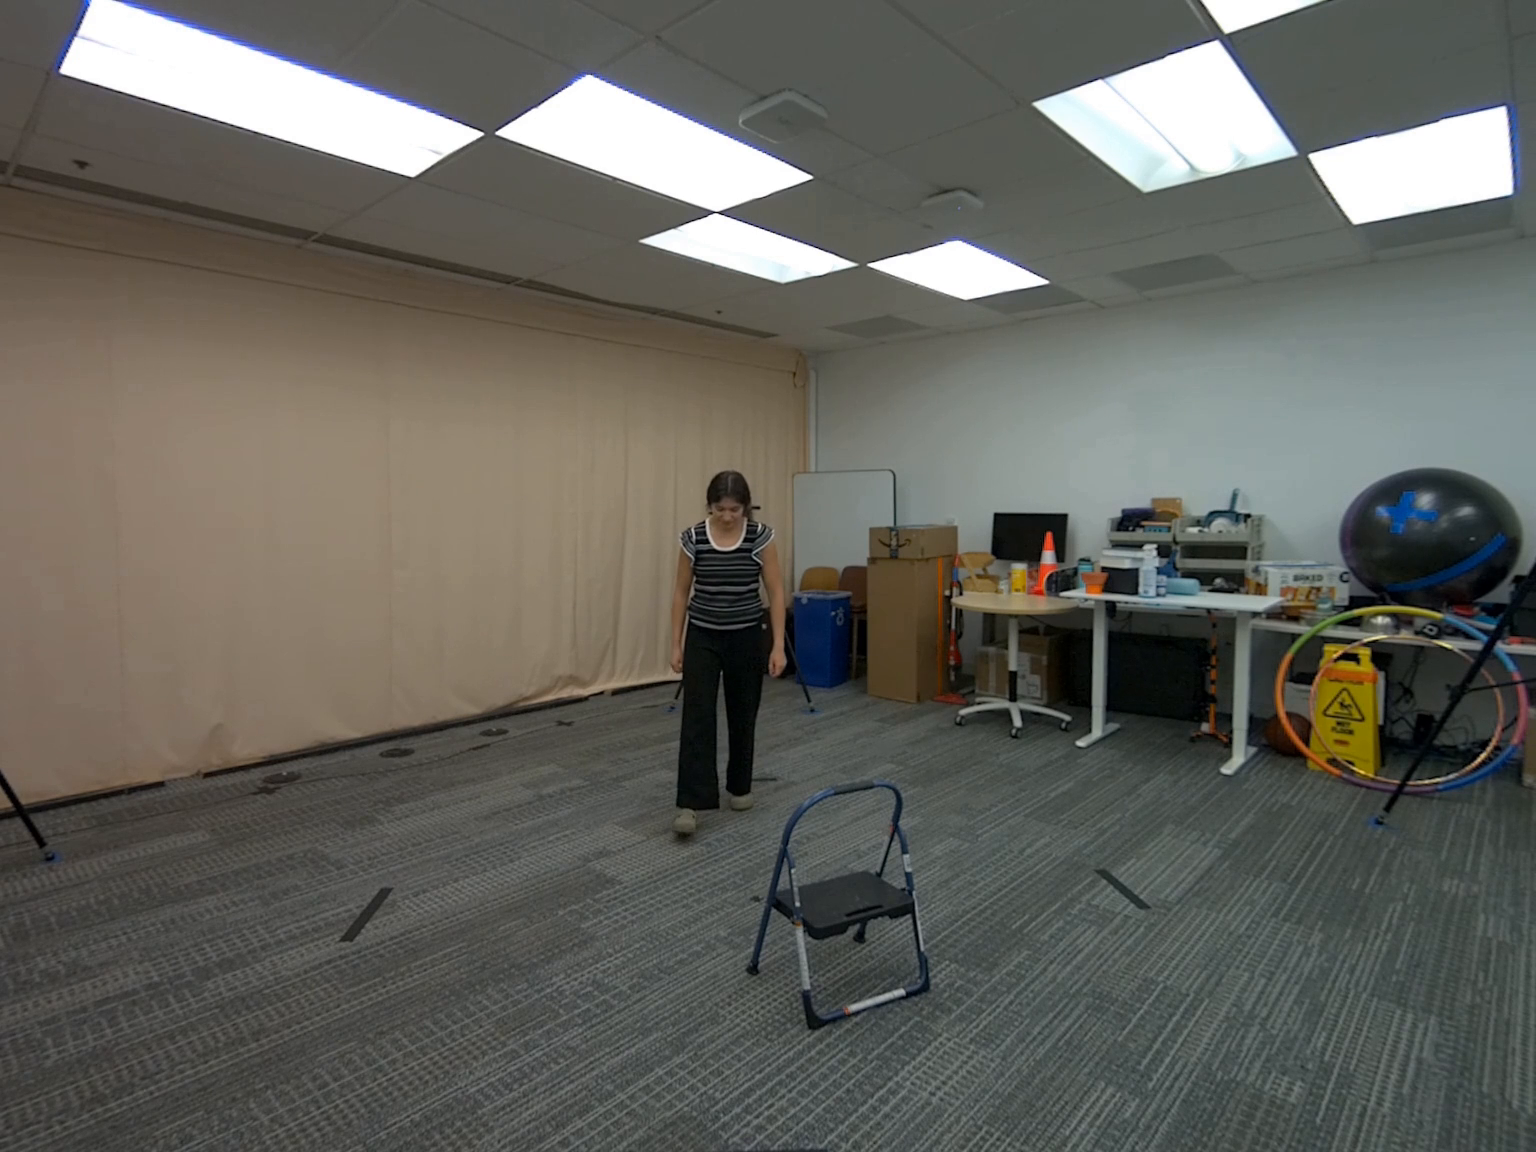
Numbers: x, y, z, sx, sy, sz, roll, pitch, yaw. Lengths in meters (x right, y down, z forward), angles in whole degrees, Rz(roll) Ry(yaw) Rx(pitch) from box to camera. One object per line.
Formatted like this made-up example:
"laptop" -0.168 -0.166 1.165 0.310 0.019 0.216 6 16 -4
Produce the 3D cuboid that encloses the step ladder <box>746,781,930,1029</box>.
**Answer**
"step ladder" 0.210 0.886 2.456 0.419 0.604 0.359 -2 5 -30
